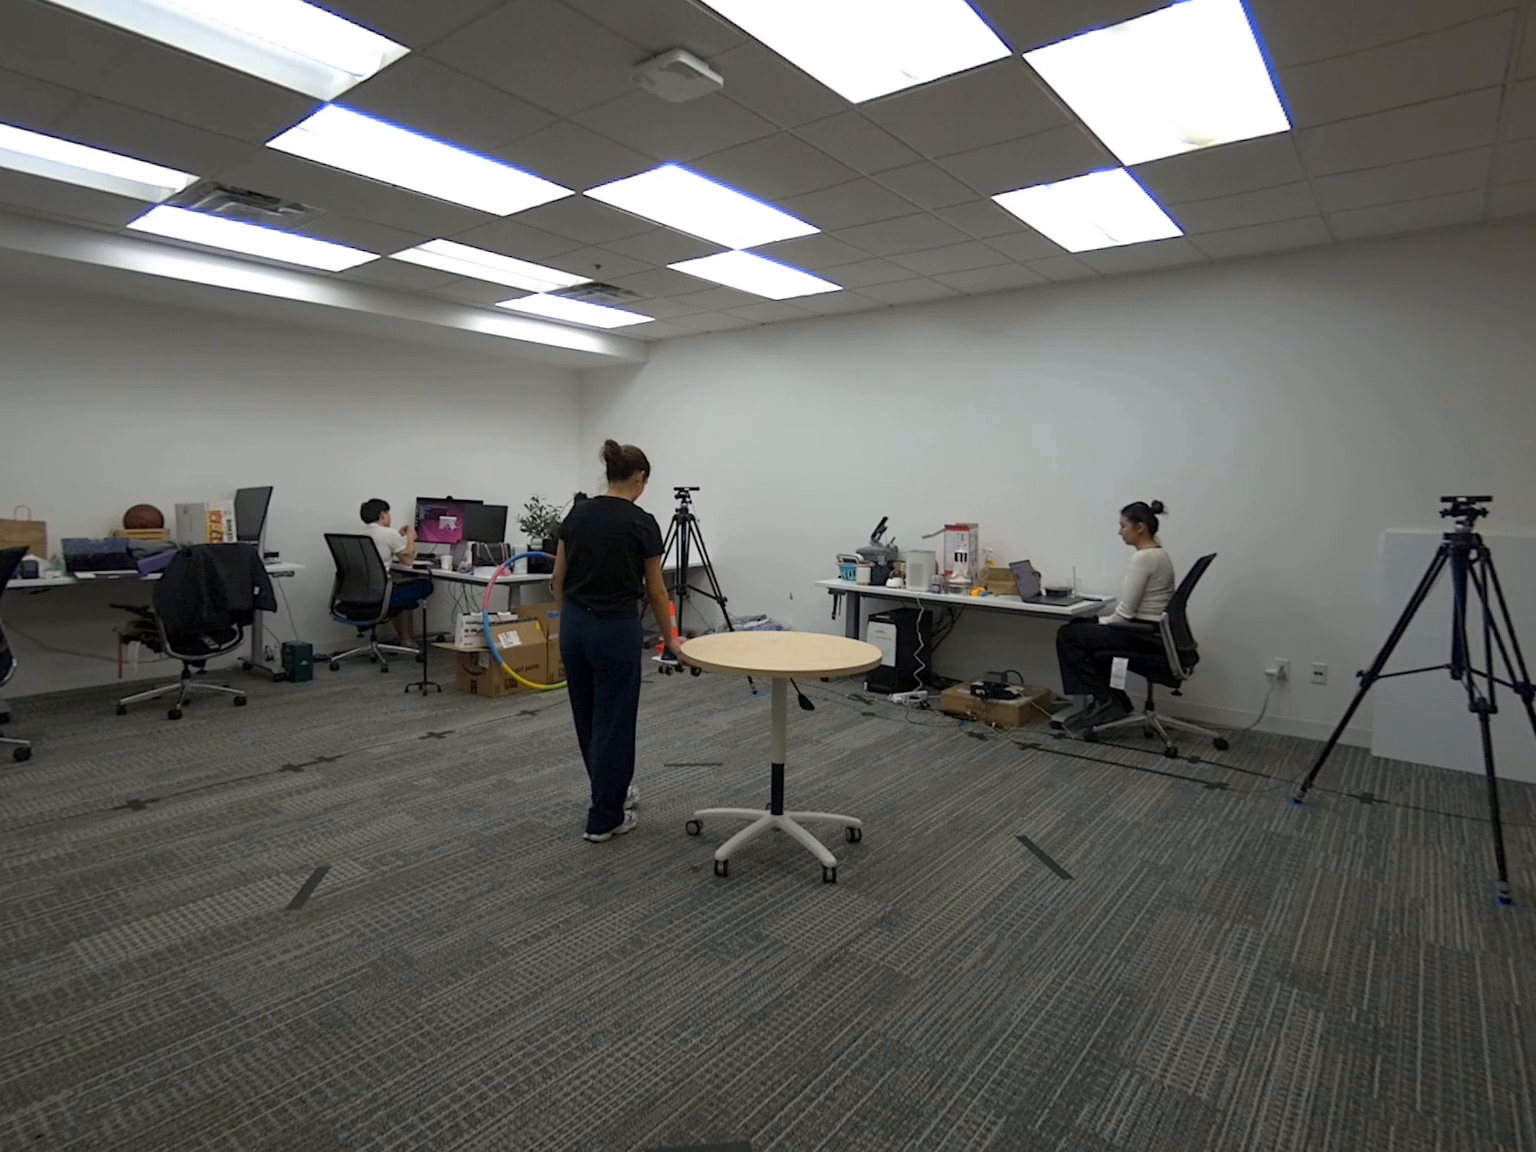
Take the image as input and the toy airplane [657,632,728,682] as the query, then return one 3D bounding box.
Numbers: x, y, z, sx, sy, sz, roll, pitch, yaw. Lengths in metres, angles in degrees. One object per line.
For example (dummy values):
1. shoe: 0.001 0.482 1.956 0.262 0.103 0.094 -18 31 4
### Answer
1. toy airplane: -0.324 0.341 3.642 0.252 0.157 0.257 11 -4 3
